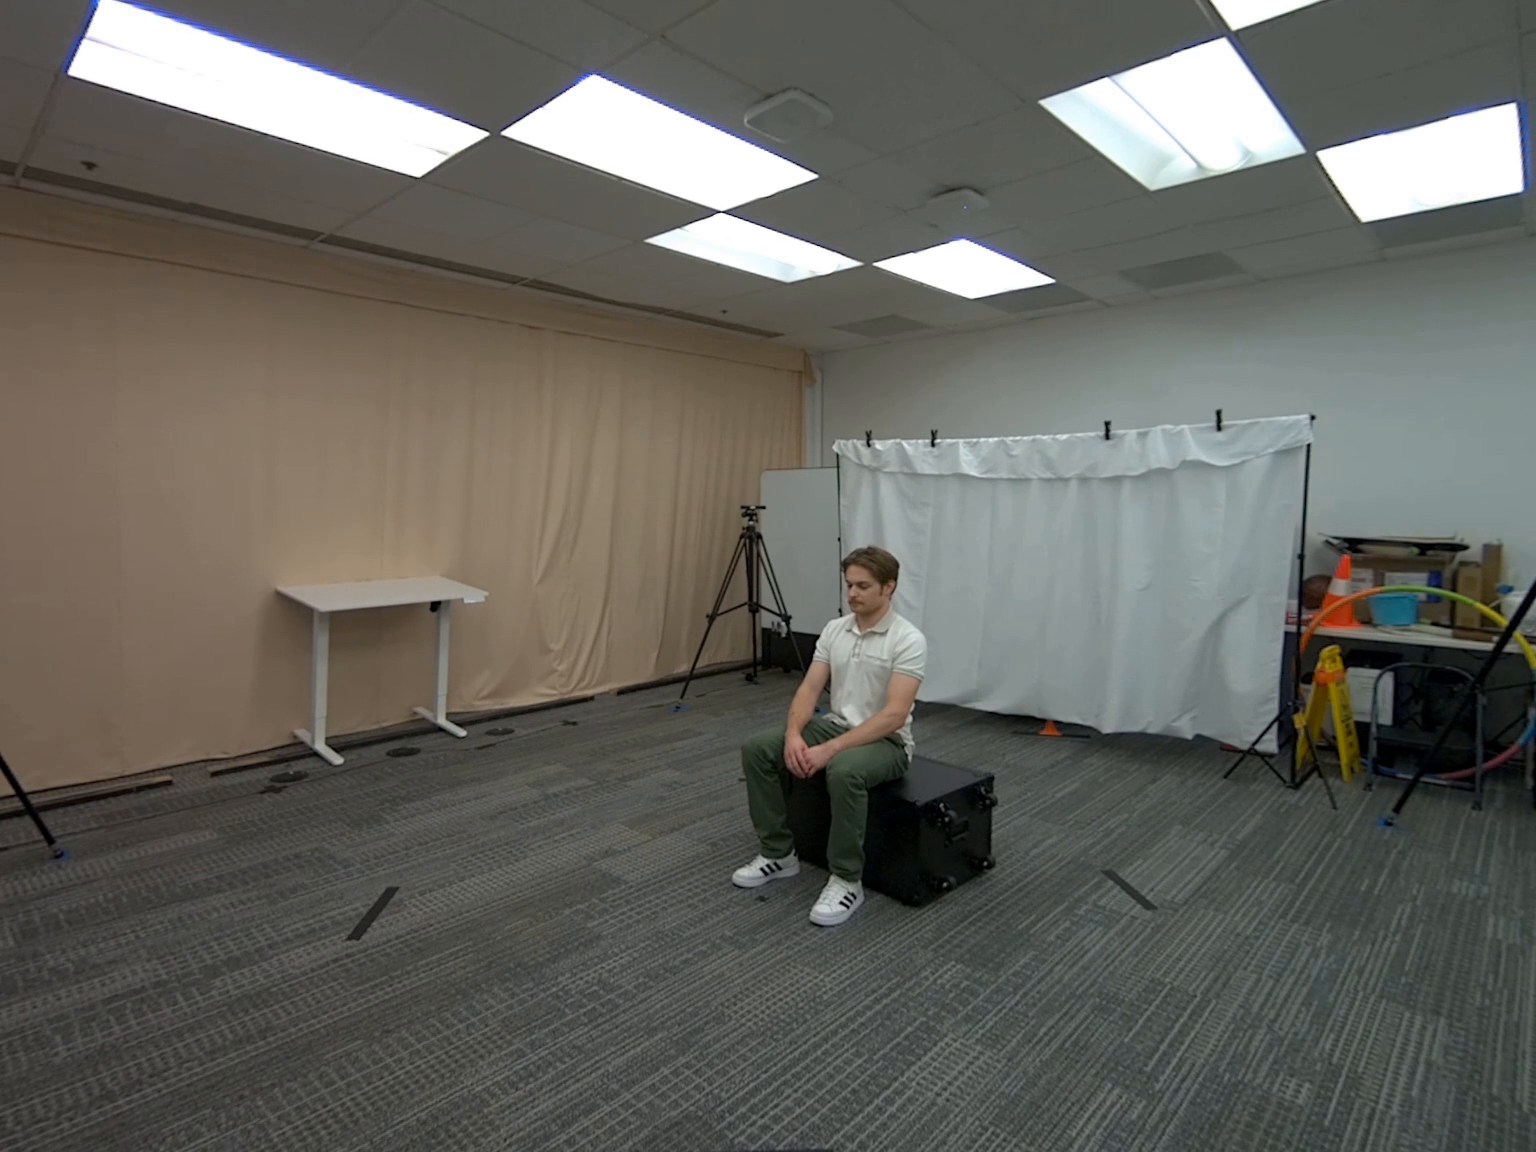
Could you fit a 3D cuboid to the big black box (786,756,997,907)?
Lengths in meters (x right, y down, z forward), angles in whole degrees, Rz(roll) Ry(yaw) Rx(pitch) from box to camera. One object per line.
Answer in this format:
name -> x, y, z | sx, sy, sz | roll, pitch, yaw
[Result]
big black box -> 0.432, 0.923, 3.291 | 0.507, 0.384, 0.897 | -2, 5, -44
